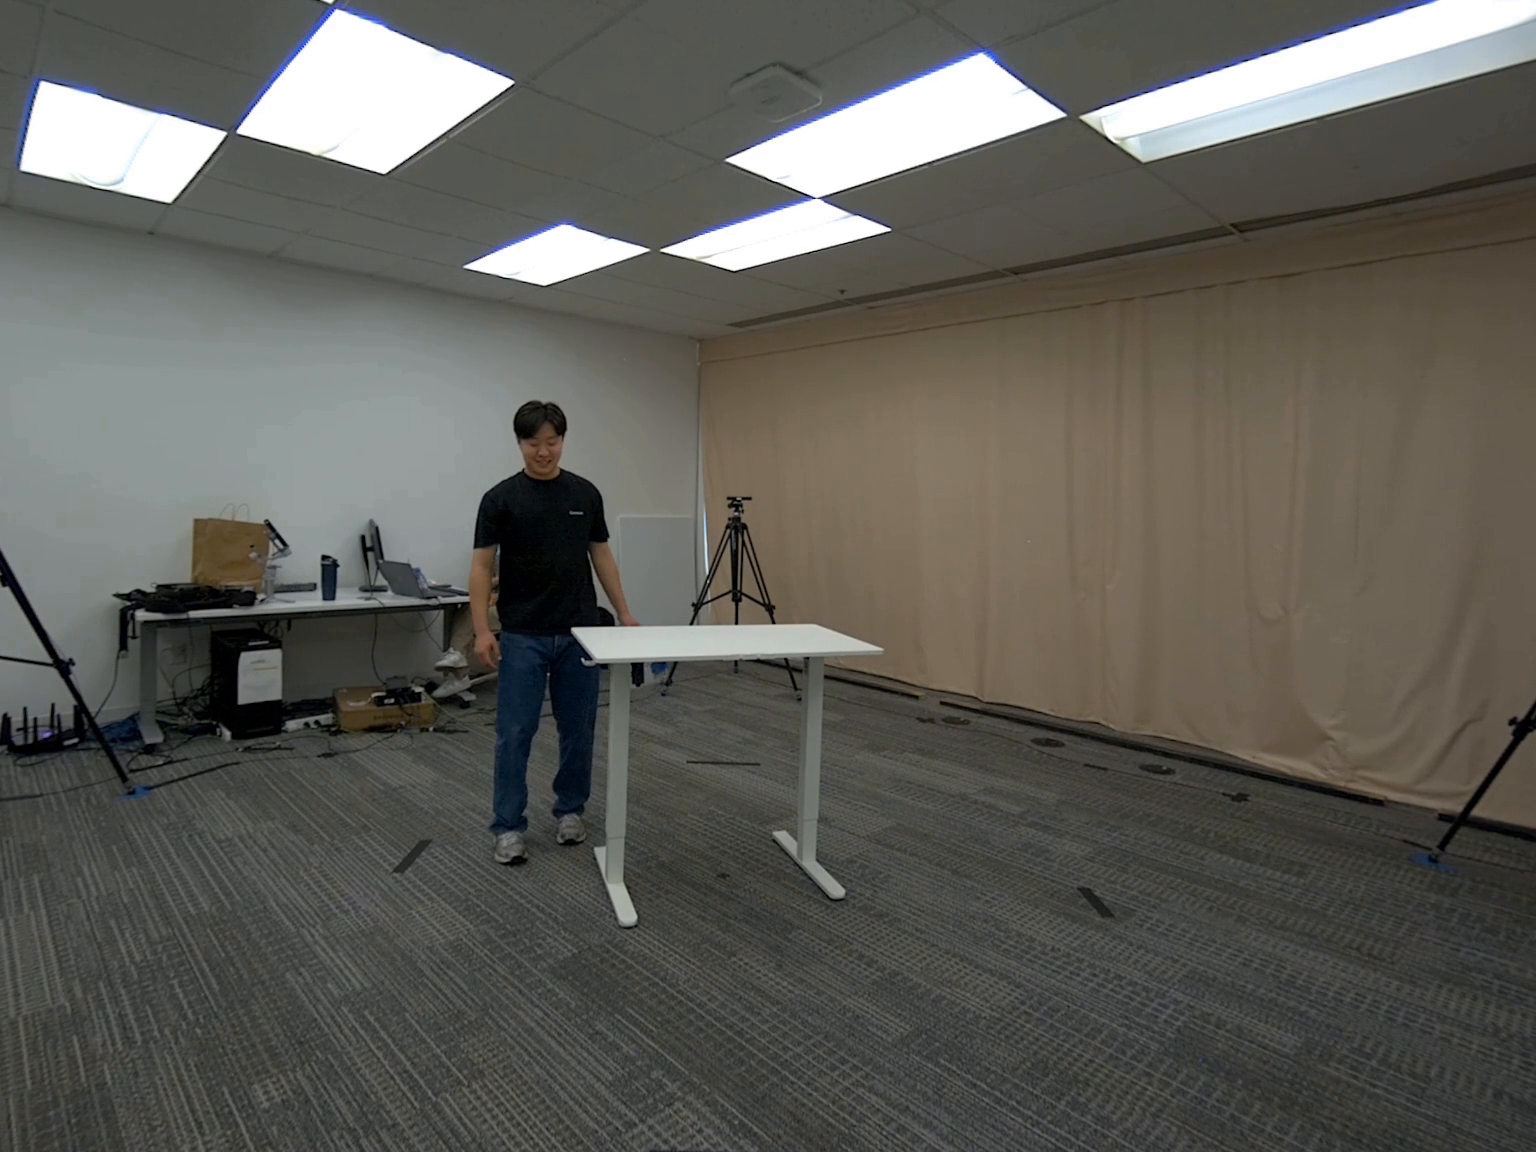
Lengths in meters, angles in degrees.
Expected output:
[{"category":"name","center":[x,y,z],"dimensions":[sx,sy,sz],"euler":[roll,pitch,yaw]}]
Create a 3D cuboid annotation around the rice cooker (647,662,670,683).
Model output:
[{"category":"rice cooker","center":[-0.570,0.357,3.528],"dimensions":[0.225,0.232,0.214],"euler":[-4,6,36]}]
